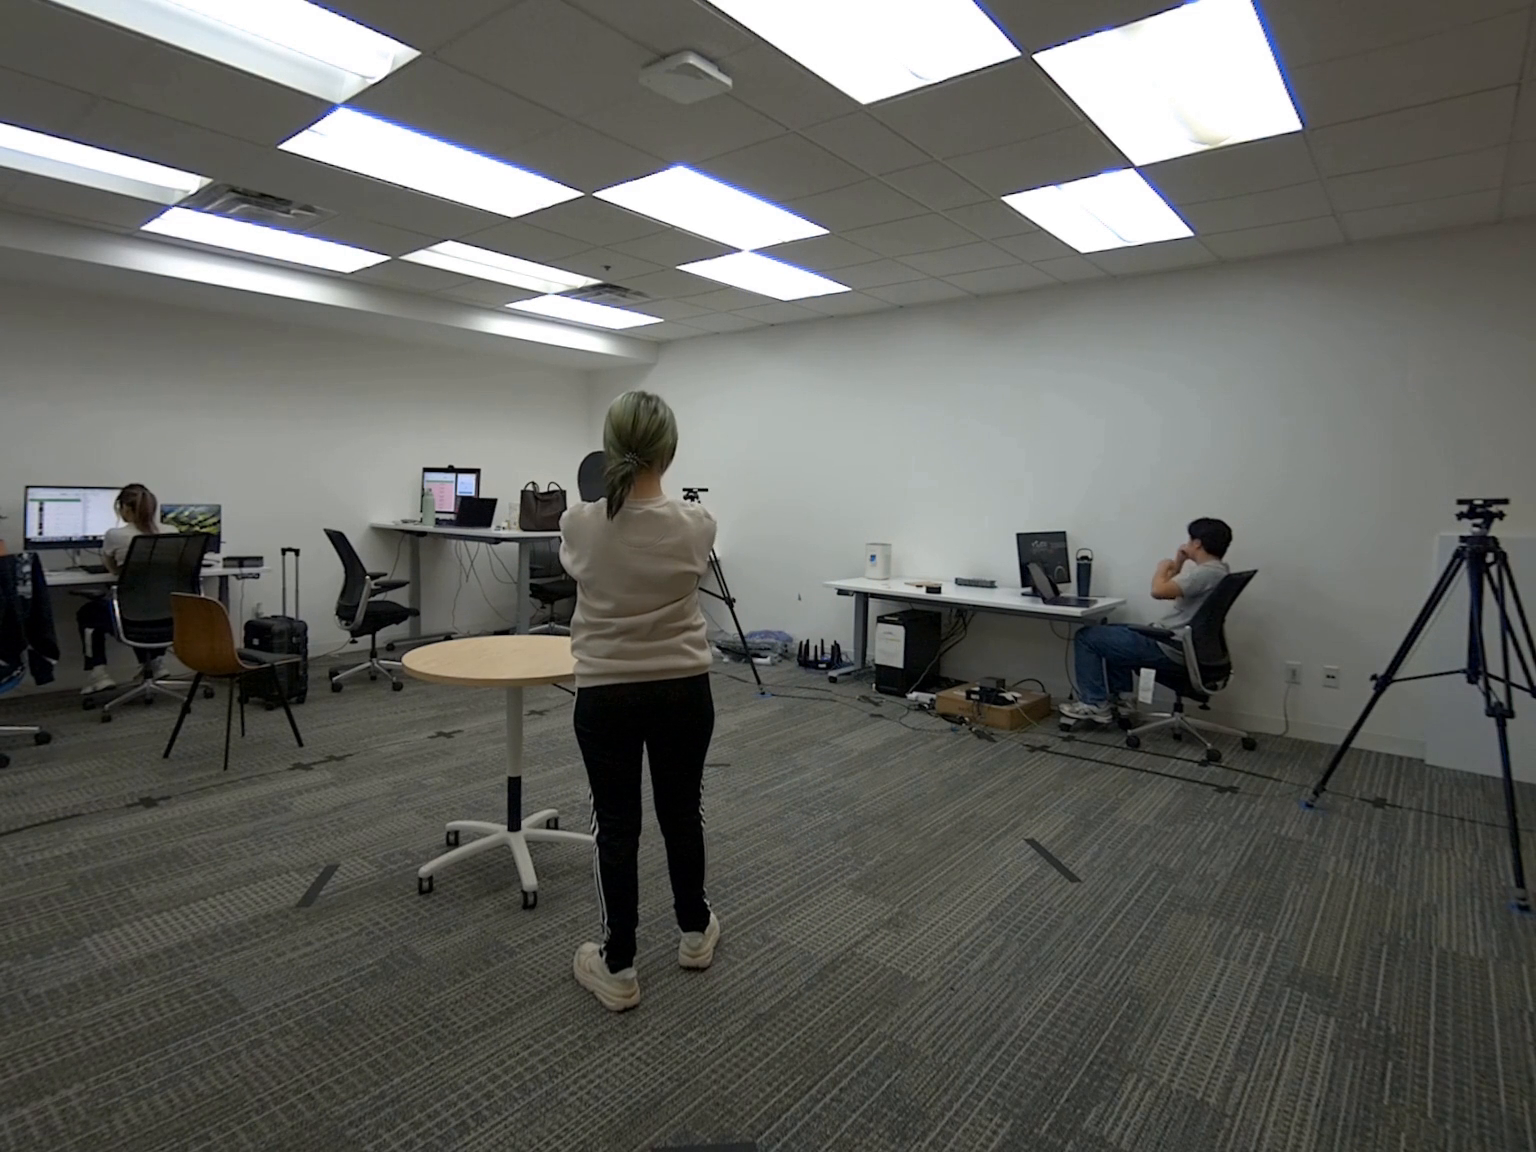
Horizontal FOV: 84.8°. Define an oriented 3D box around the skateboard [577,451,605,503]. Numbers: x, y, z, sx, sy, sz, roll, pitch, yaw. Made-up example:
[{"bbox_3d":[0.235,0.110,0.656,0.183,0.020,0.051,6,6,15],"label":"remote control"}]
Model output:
[{"bbox_3d":[-0.480,-0.056,2.843,0.190,0.804,0.110,-7,-22,-21],"label":"skateboard"}]
